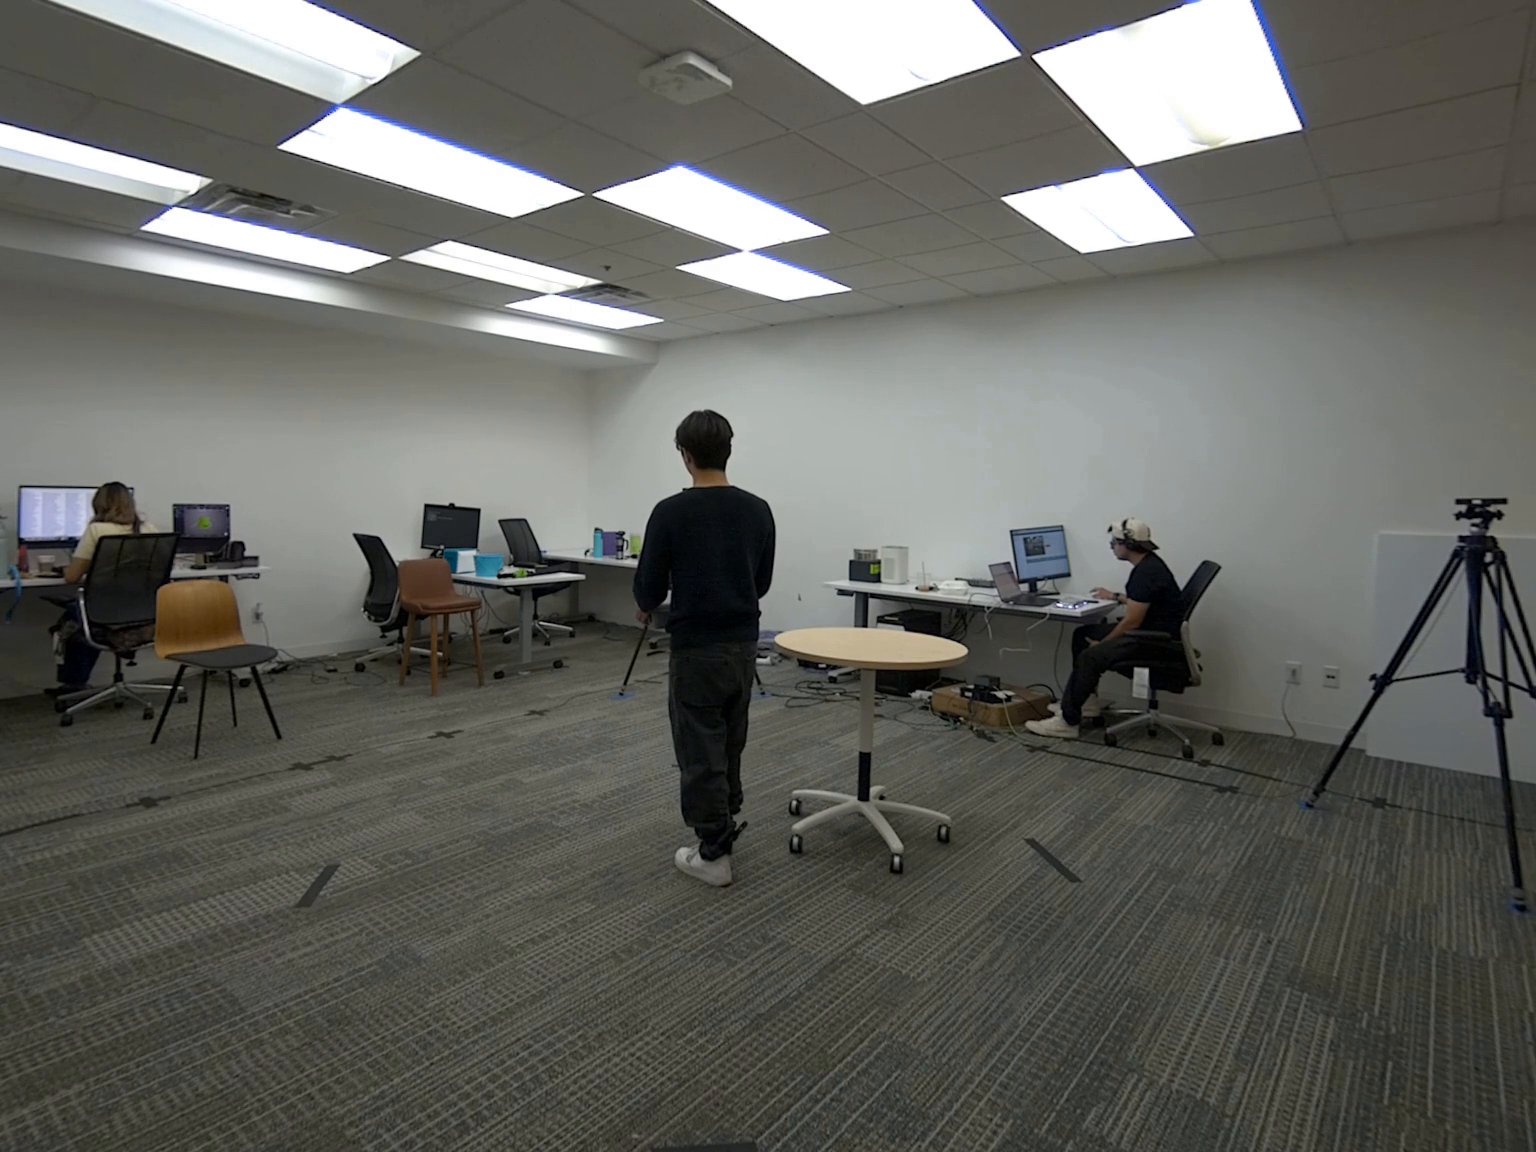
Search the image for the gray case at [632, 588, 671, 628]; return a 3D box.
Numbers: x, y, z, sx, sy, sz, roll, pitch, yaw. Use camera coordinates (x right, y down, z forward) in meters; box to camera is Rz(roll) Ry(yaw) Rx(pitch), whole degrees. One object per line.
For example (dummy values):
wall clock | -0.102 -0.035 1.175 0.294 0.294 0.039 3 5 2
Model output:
gray case | -0.395 0.122 3.390 0.252 0.103 0.268 -1 10 -20
